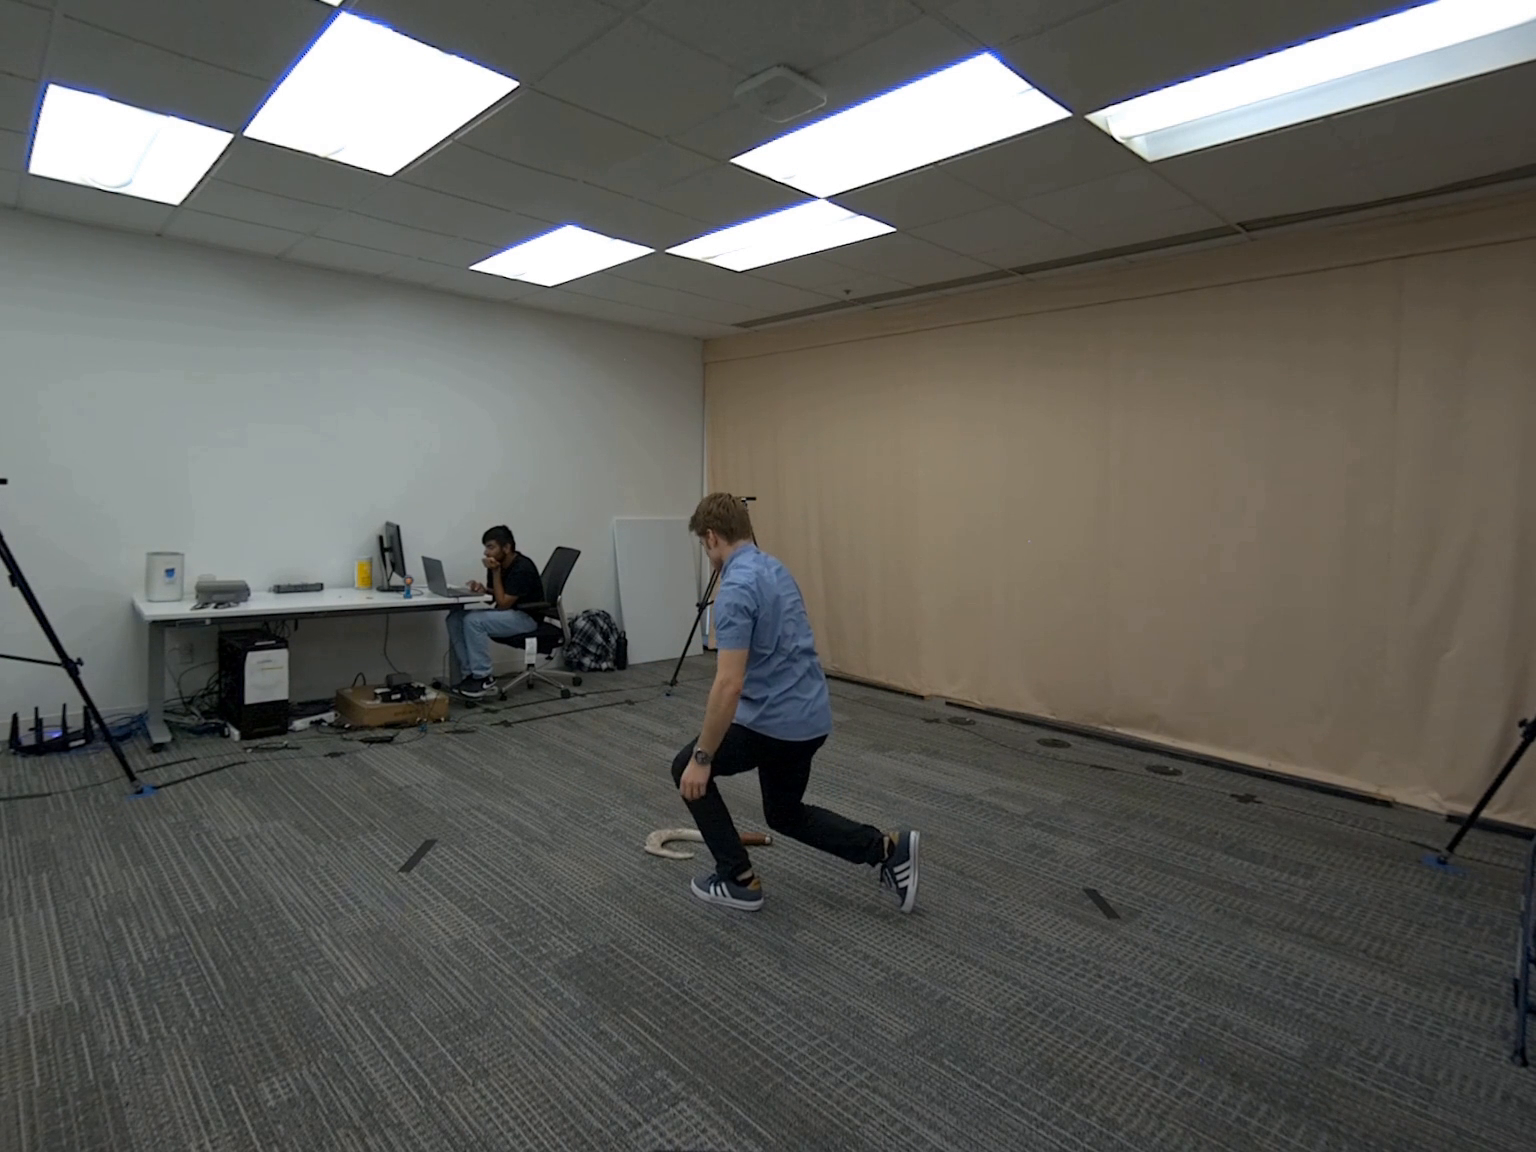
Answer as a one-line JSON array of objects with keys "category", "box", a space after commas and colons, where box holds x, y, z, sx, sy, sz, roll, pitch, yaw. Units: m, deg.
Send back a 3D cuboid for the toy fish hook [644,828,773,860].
[{"category": "toy fish hook", "box": [-0.241, 1.068, 3.340, 0.506, 0.048, 0.227, 0, 13, -1]}]
